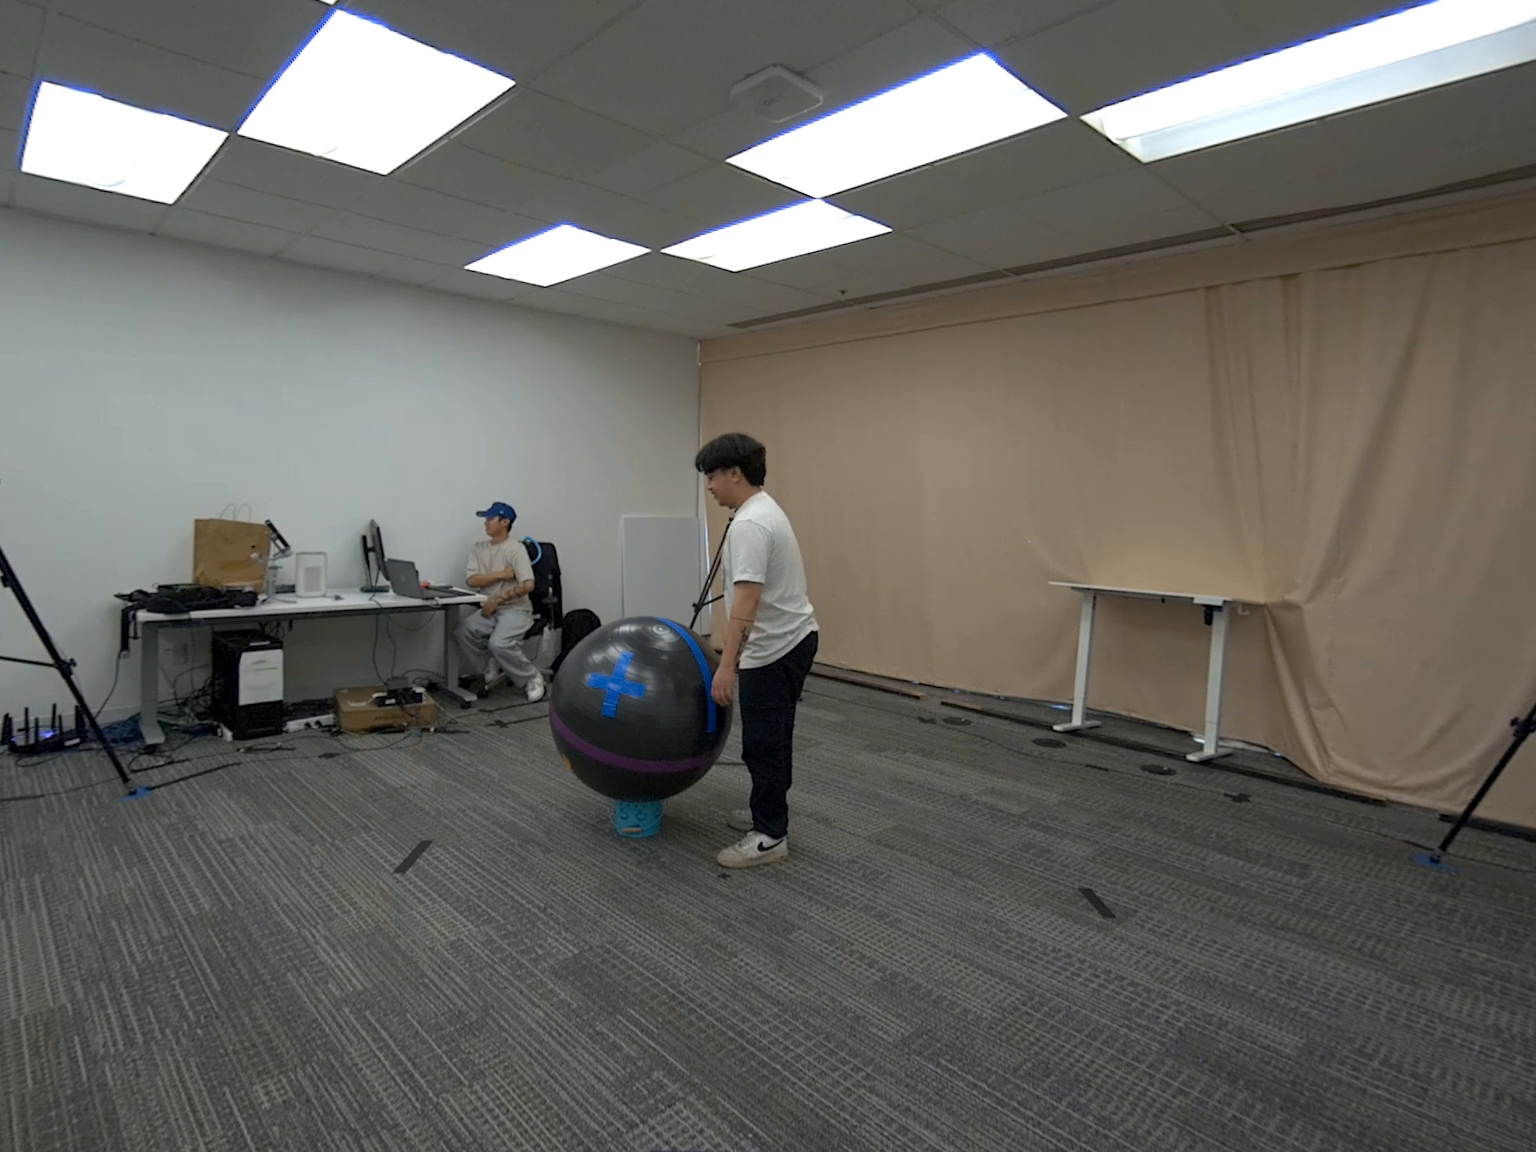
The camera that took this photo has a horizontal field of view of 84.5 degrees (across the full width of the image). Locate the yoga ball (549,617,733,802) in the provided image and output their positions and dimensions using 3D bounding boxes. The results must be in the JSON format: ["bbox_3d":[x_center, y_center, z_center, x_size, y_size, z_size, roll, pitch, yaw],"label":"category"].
[{"bbox_3d":[-0.527,0.546,3.511,0.757,0.756,0.761,1,4,-1],"label":"yoga ball"}]
